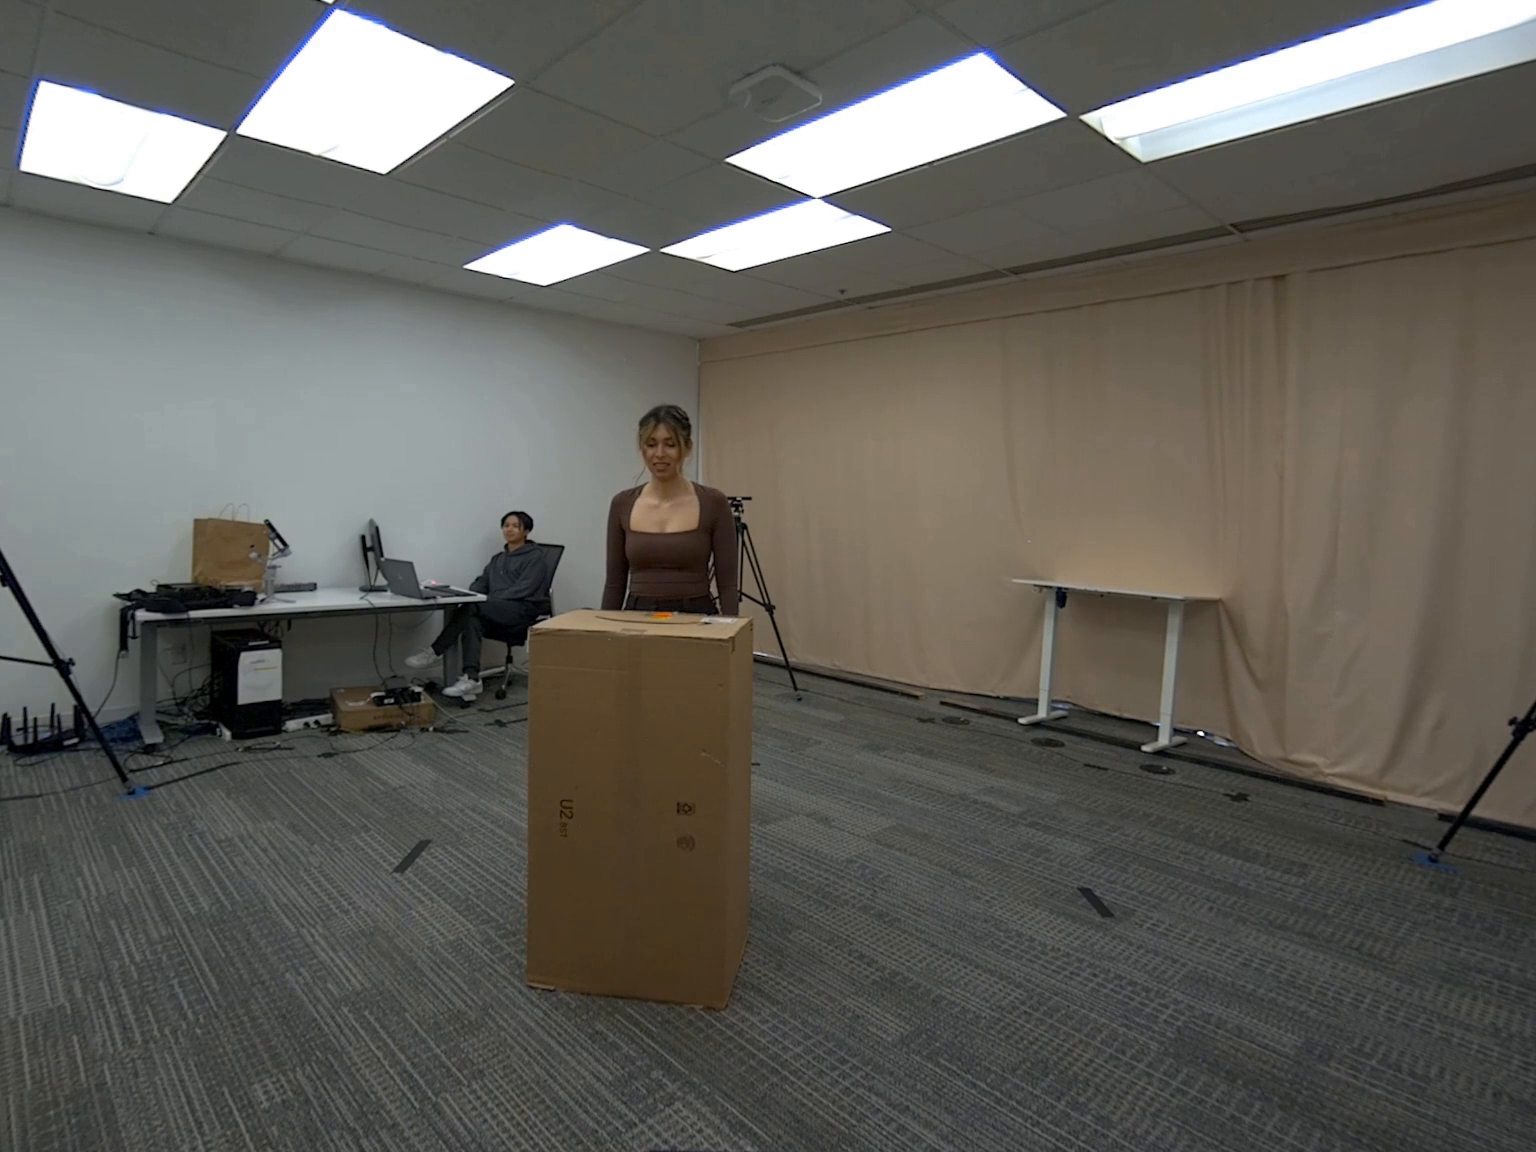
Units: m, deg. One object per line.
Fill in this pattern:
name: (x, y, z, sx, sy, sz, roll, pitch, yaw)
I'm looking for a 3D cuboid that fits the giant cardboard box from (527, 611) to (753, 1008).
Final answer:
giant cardboard box: (-0.367, 0.643, 2.510, 0.589, 1.025, 0.444, 2, 3, 10)
